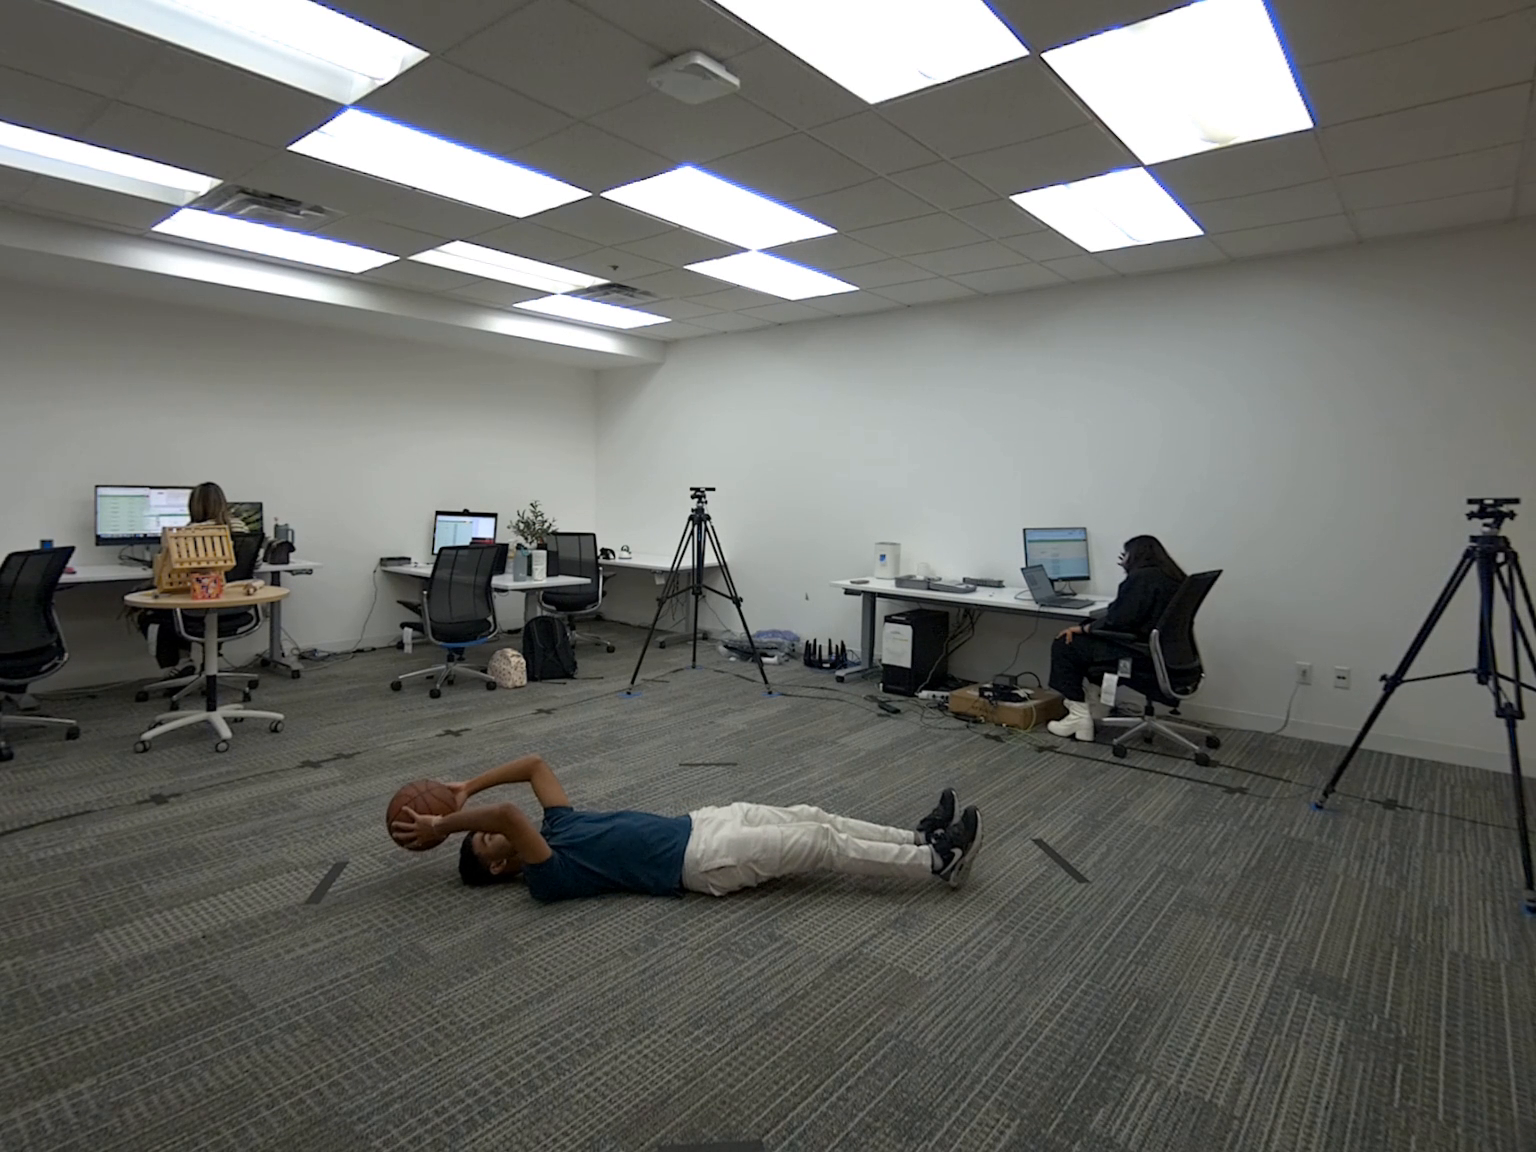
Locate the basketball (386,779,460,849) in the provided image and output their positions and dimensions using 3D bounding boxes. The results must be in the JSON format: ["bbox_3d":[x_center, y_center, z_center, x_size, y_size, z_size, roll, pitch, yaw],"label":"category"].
[{"bbox_3d":[-1.229,0.835,2.985,0.235,0.235,0.237,1,4,-2],"label":"basketball"}]
